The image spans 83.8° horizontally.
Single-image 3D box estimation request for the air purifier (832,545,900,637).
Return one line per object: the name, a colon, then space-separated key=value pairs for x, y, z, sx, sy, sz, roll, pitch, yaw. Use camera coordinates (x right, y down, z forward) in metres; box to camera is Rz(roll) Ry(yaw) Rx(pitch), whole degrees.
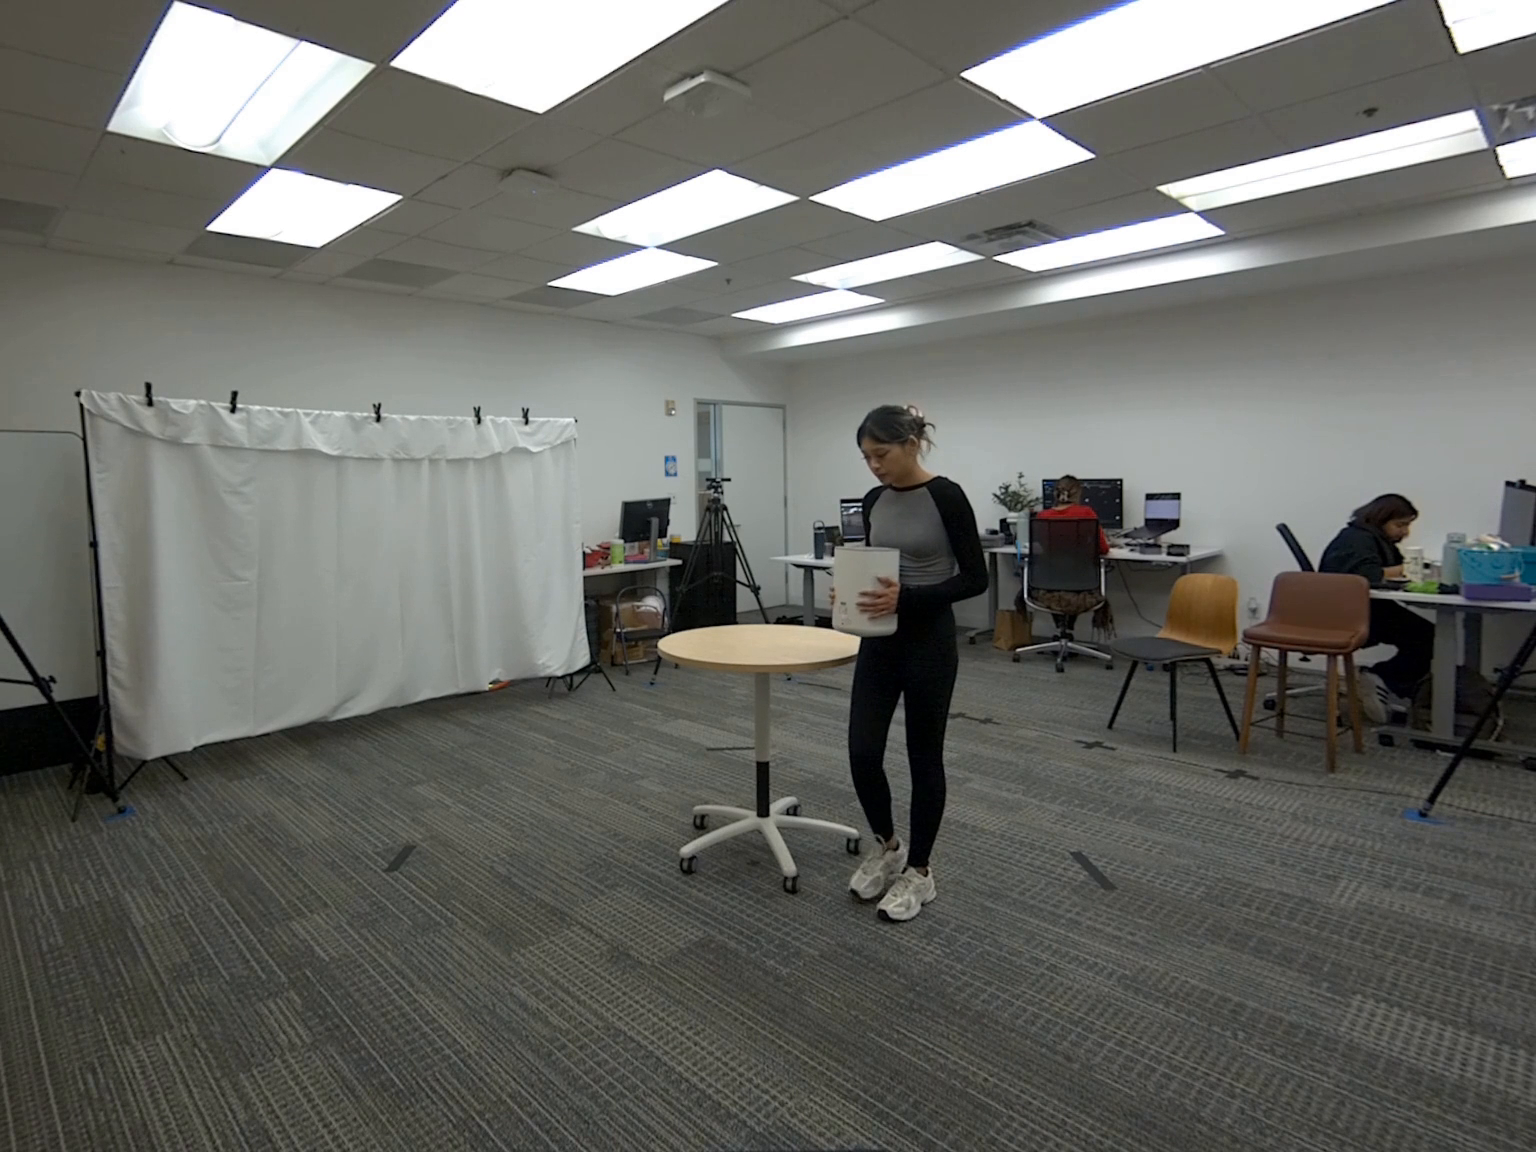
air purifier: x=0.317 y=0.049 z=2.647 sx=0.167 sy=0.265 sz=0.176 roll=1 pitch=2 yaw=-36
